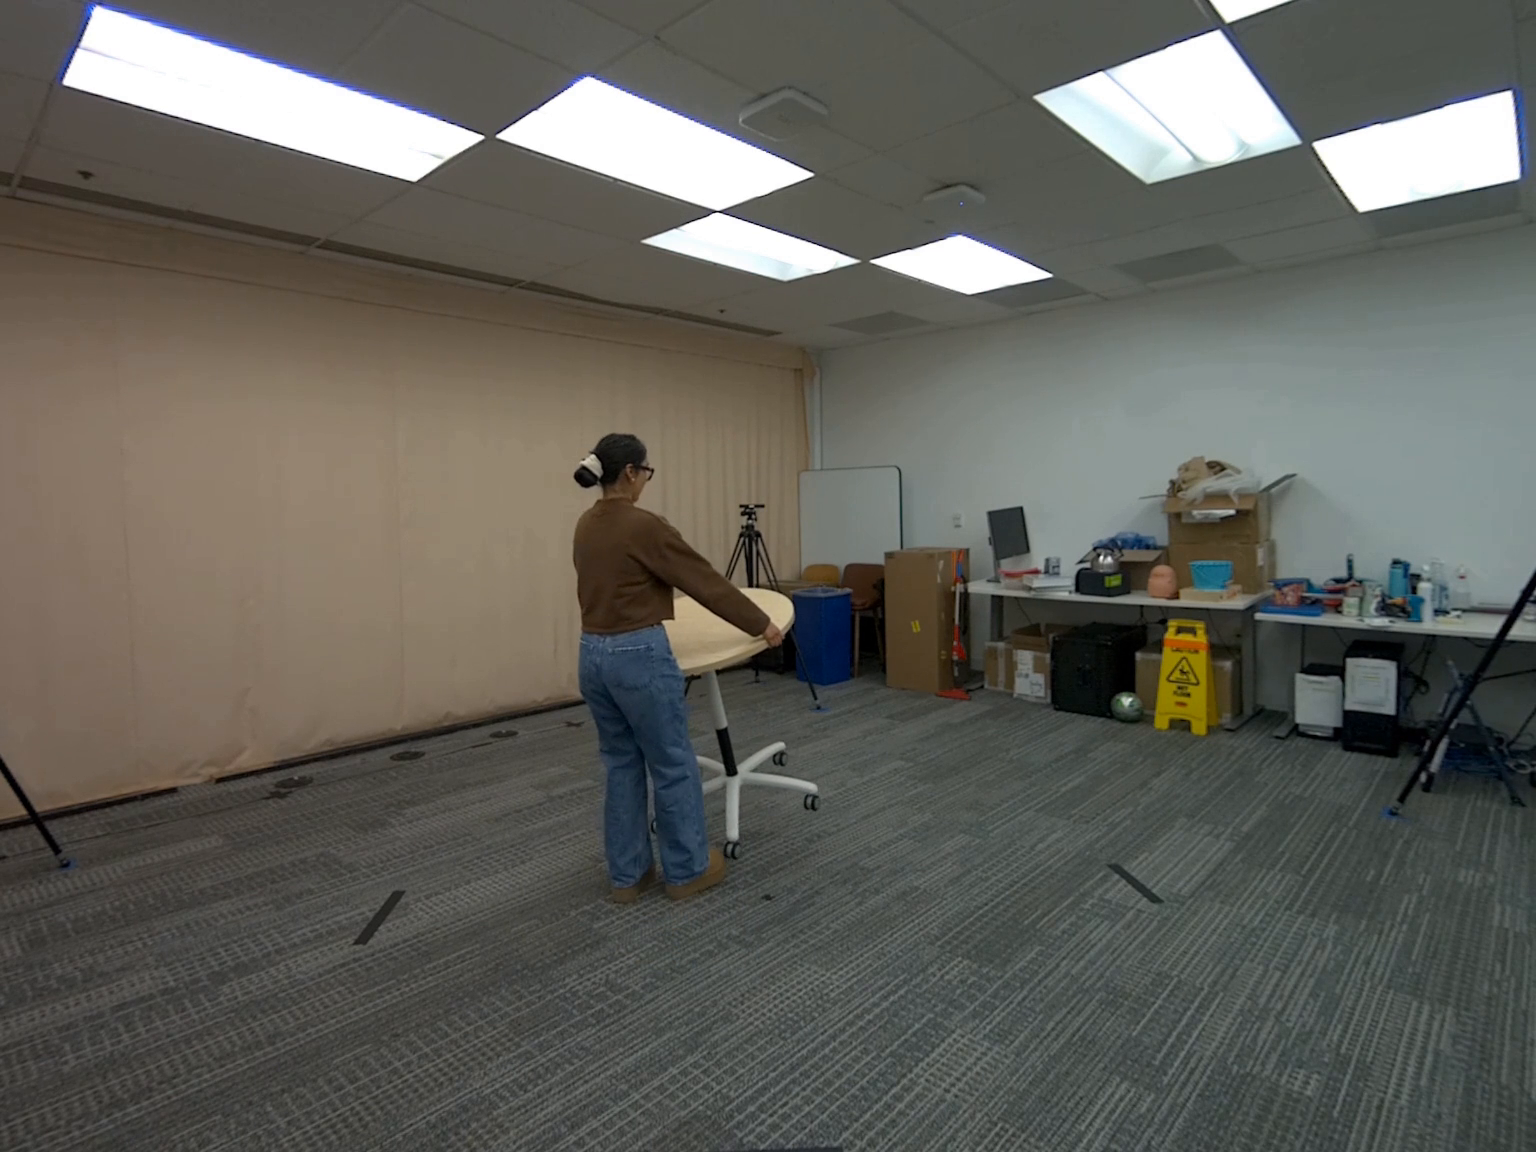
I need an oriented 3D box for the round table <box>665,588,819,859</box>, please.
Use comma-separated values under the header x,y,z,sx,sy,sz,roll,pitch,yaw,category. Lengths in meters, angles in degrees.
x,y,z,sx,sy,sz,roll,pitch,yaw,category
-0.191,0.565,3.397,0.787,0.776,0.794,-11,17,1,round table
